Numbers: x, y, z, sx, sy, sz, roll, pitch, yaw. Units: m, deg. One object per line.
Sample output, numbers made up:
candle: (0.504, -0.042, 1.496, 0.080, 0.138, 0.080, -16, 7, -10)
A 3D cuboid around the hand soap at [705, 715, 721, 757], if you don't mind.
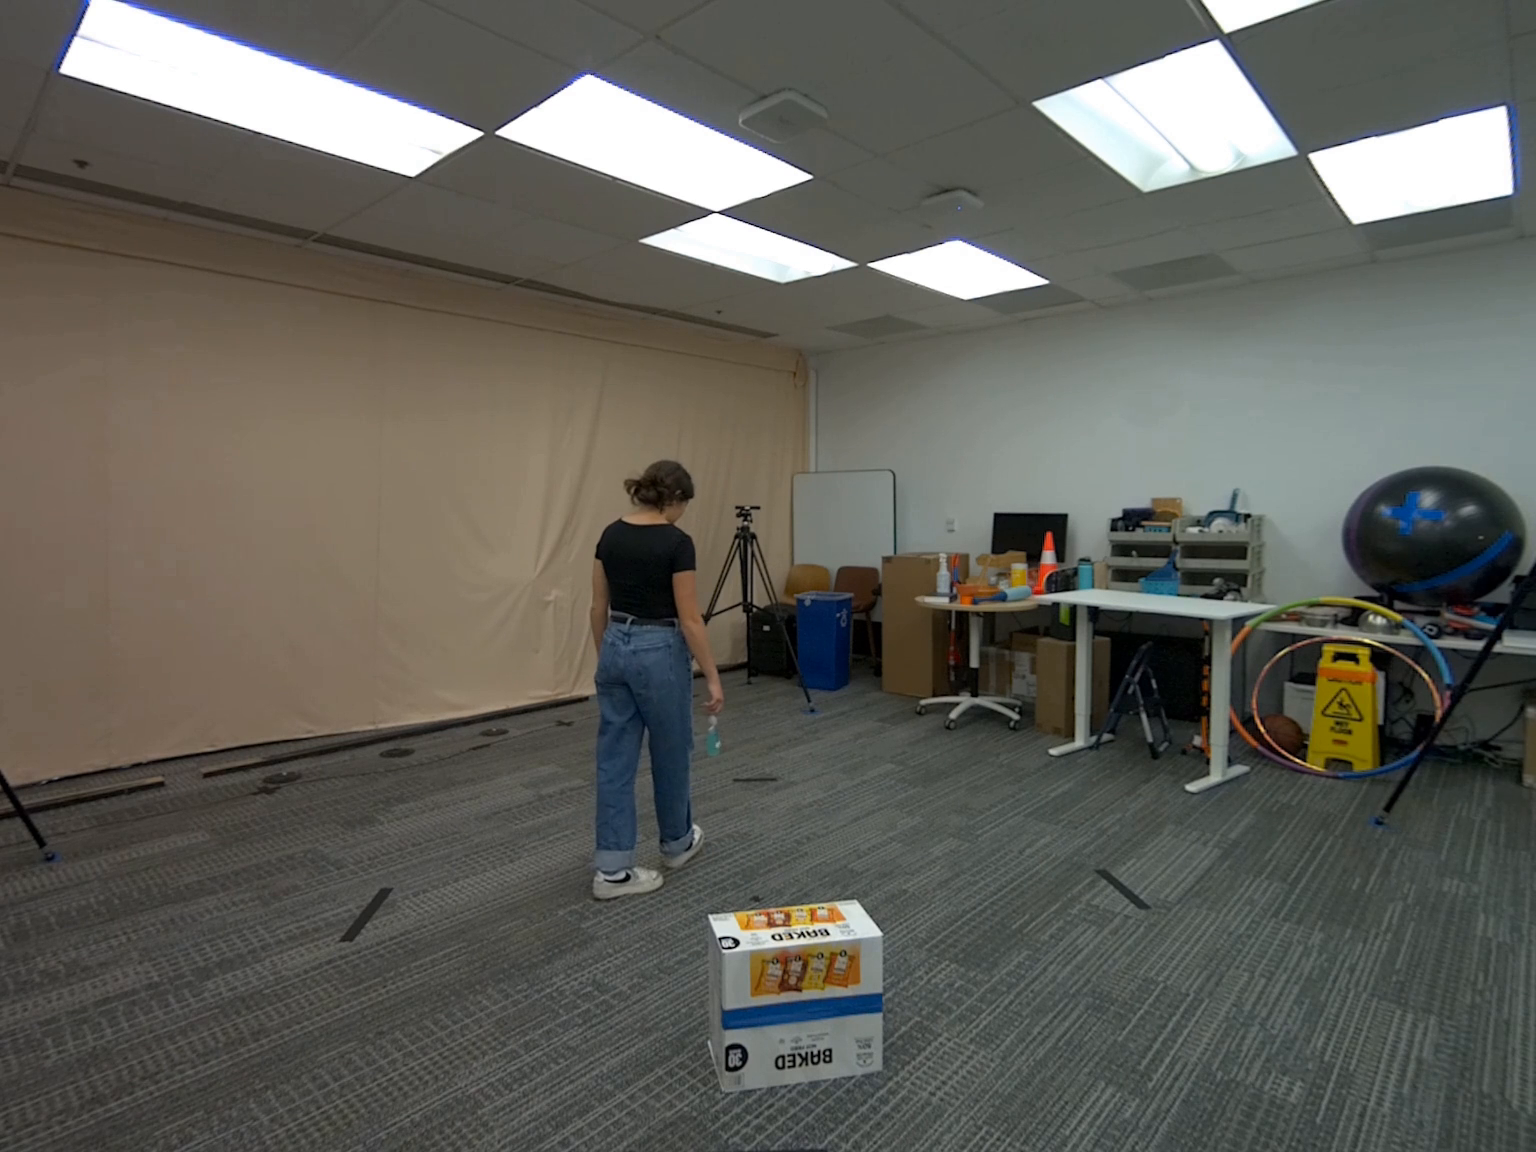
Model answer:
hand soap: (-0.200, 0.547, 3.035, 0.044, 0.168, 0.084, 1, 4, 9)
